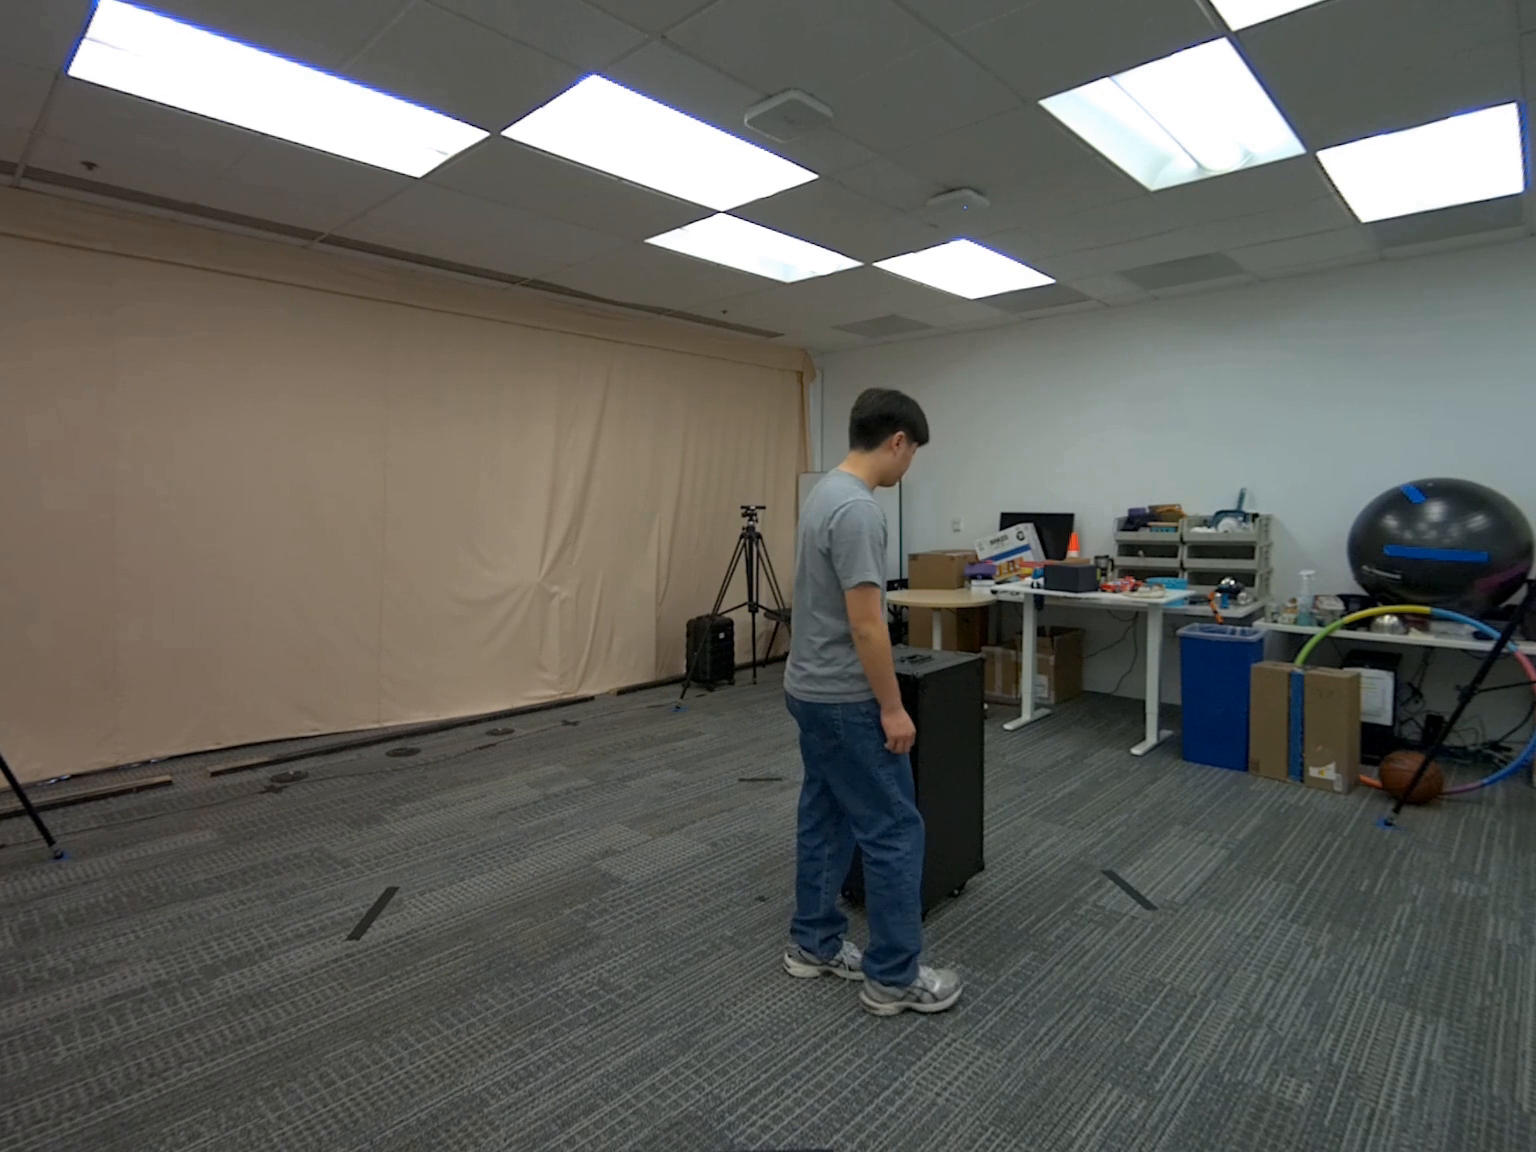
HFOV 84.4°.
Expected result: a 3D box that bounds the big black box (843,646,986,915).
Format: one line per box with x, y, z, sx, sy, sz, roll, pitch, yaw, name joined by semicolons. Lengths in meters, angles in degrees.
0.493;0.715;2.985;0.409;0.860;0.505;2;3;41;big black box
